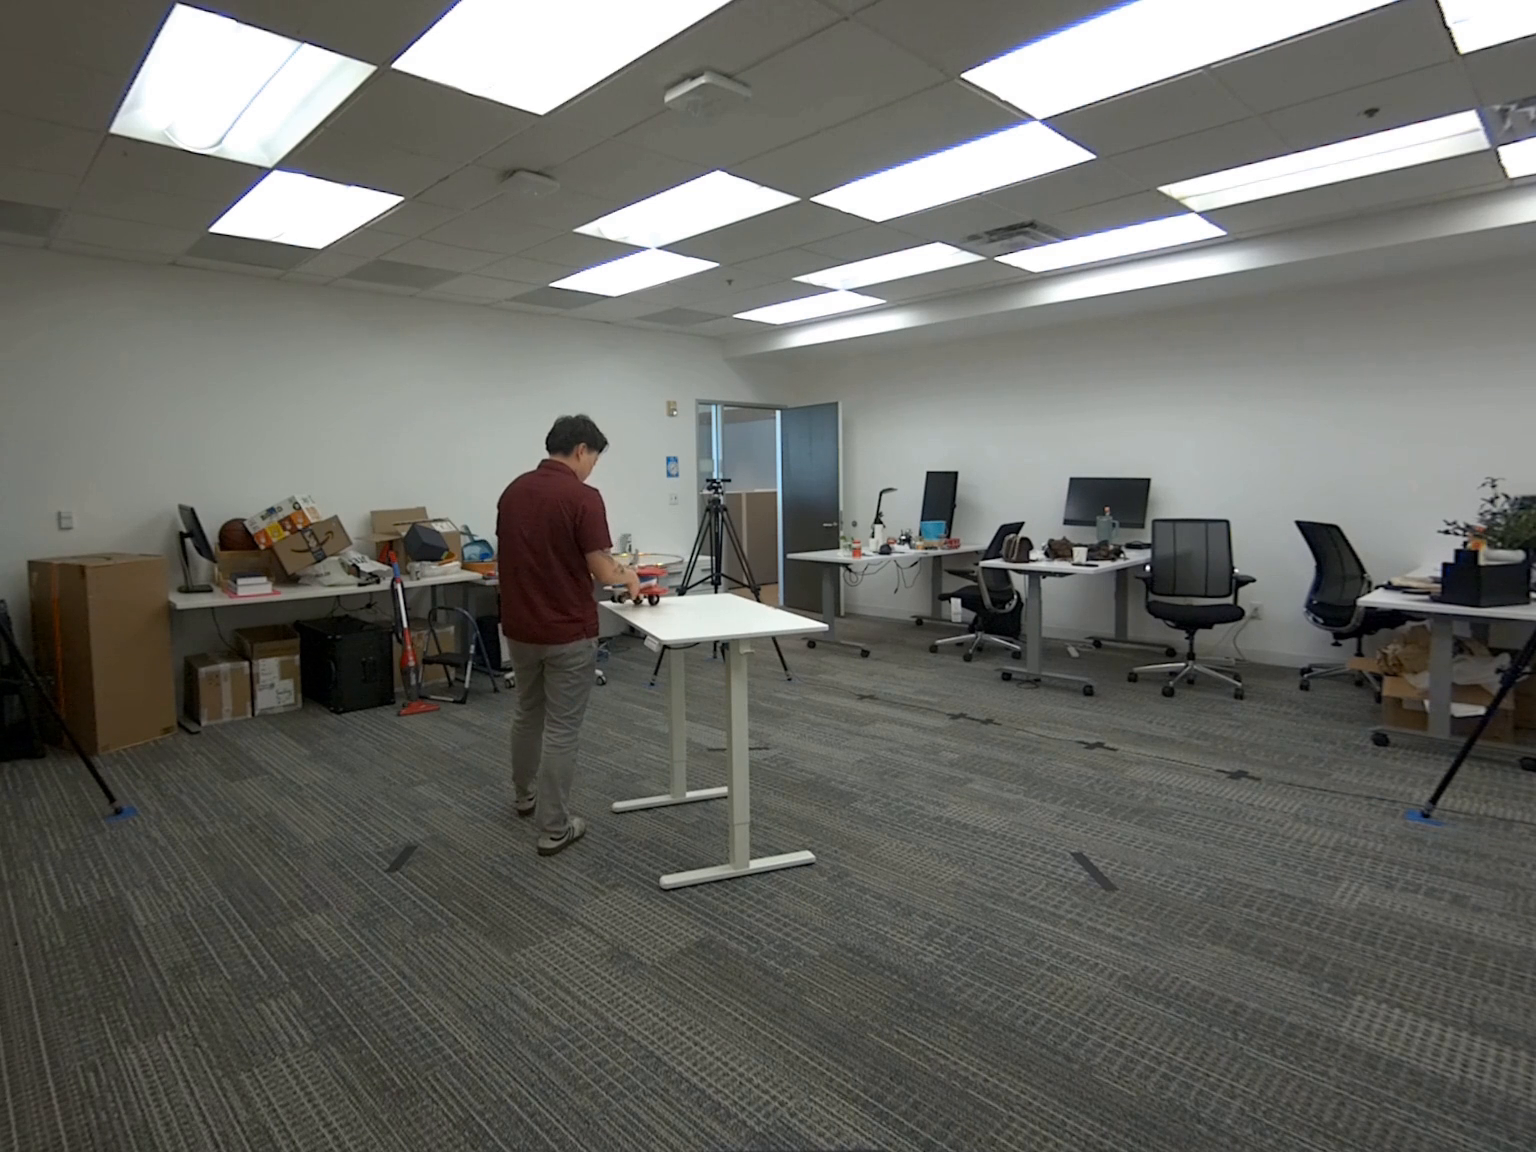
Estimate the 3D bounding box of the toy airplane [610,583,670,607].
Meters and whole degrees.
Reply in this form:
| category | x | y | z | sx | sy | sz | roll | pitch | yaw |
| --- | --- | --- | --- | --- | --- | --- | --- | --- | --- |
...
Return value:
| category | x | y | z | sx | sy | sz | roll | pitch | yaw |
| --- | --- | --- | --- | --- | --- | --- | --- | --- | --- |
| toy airplane | -0.539 | 0.039 | 3.507 | 0.252 | 0.157 | 0.257 | 4 | -3 | 3 |
